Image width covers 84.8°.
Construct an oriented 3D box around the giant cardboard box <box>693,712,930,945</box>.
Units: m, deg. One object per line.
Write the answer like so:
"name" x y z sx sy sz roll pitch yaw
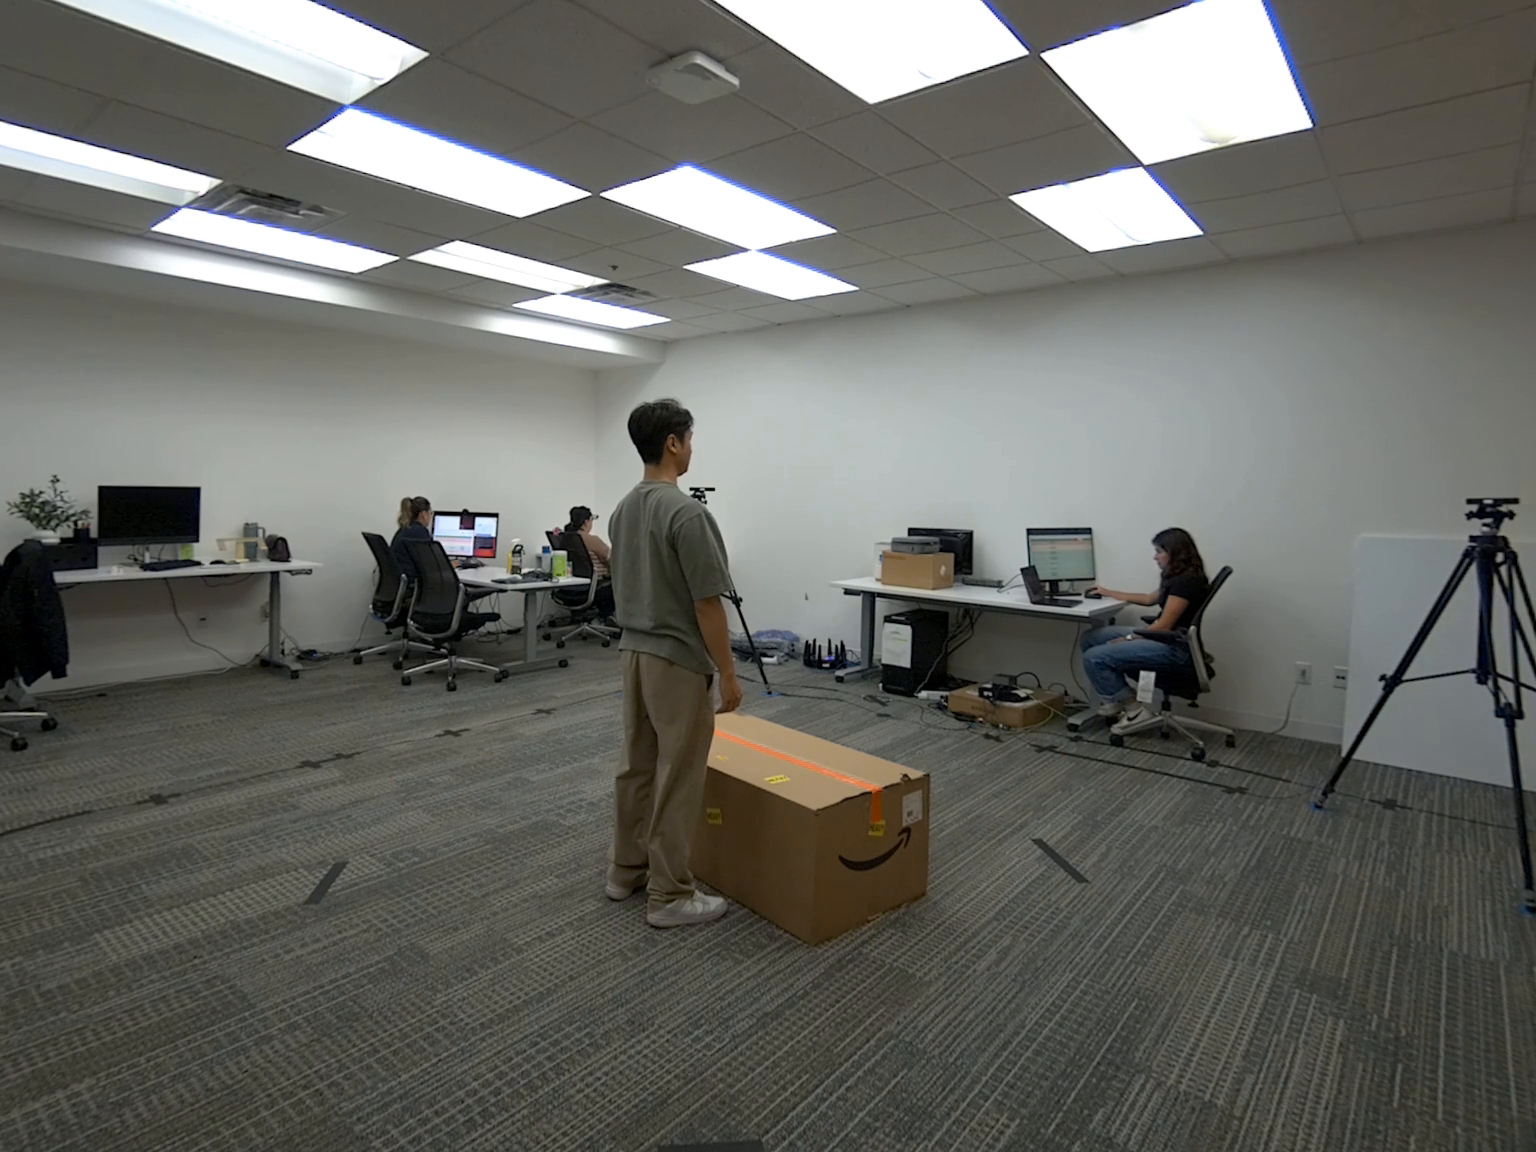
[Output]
"giant cardboard box" -0.005 0.851 3.145 0.560 0.424 1.061 -3 7 -41
